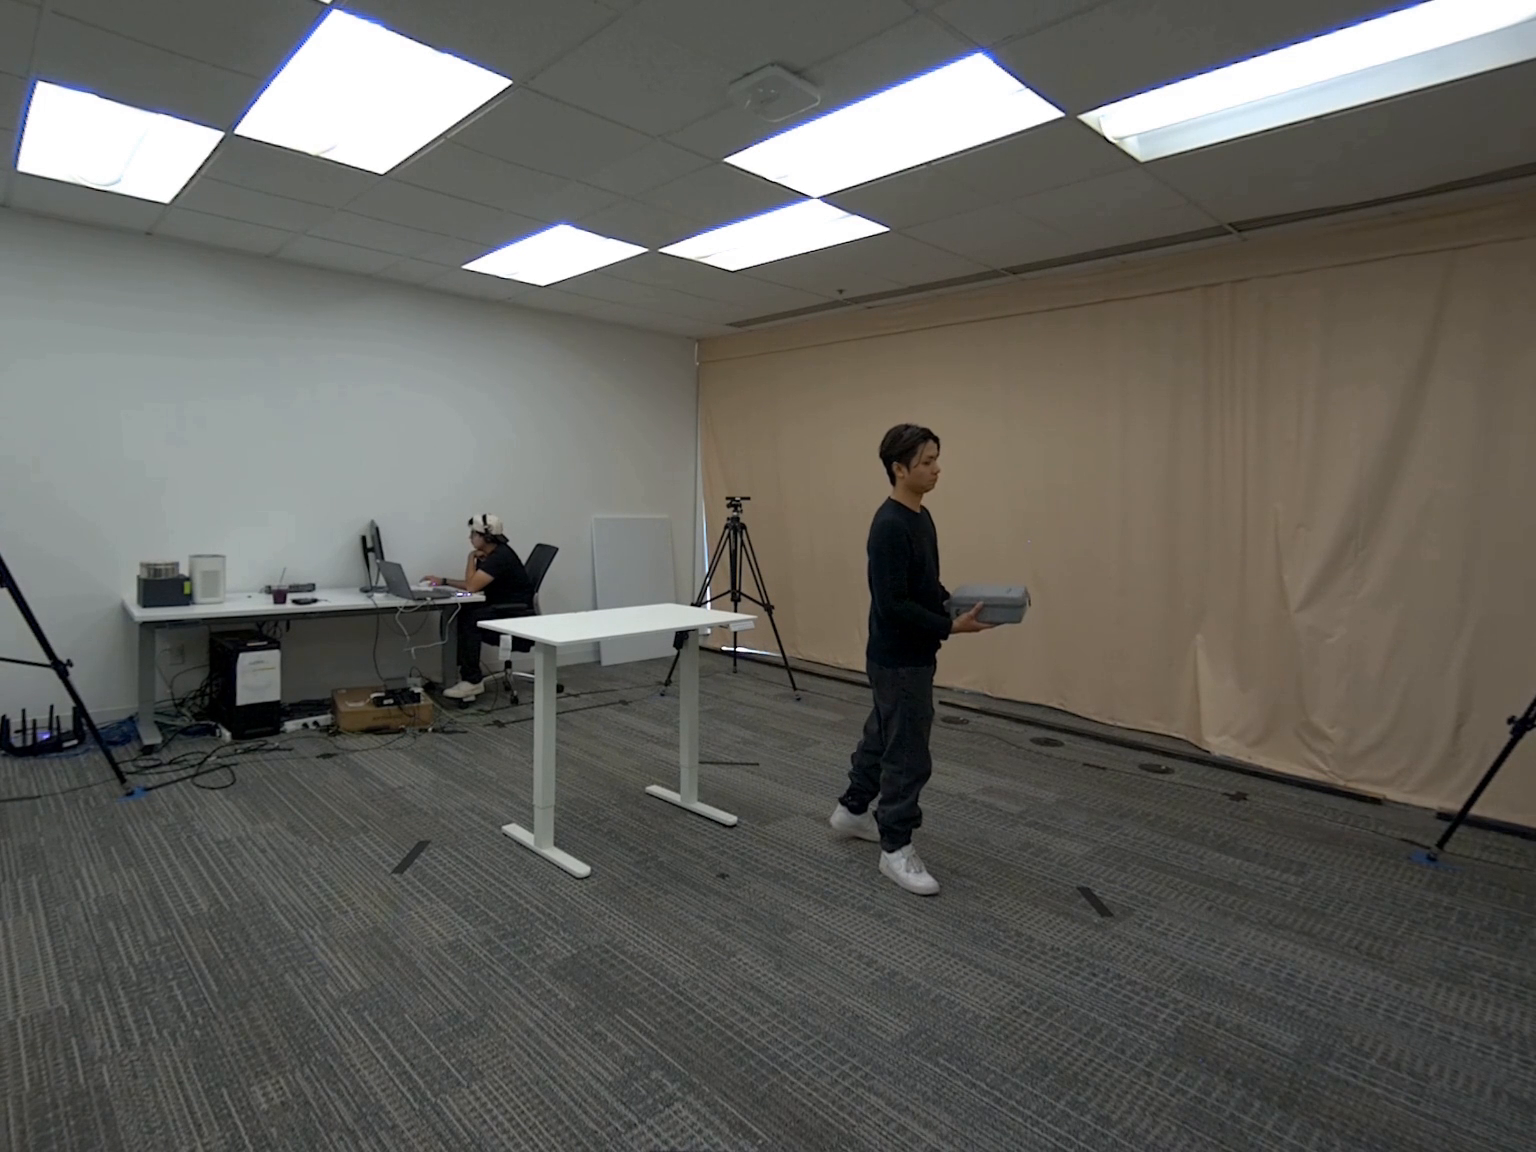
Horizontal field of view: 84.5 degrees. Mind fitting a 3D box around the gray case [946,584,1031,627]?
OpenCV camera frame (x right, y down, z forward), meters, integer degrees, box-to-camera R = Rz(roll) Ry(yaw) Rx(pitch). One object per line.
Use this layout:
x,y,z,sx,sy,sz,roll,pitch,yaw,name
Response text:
0.797,0.090,3.066,0.260,0.104,0.258,-1,7,18,gray case
